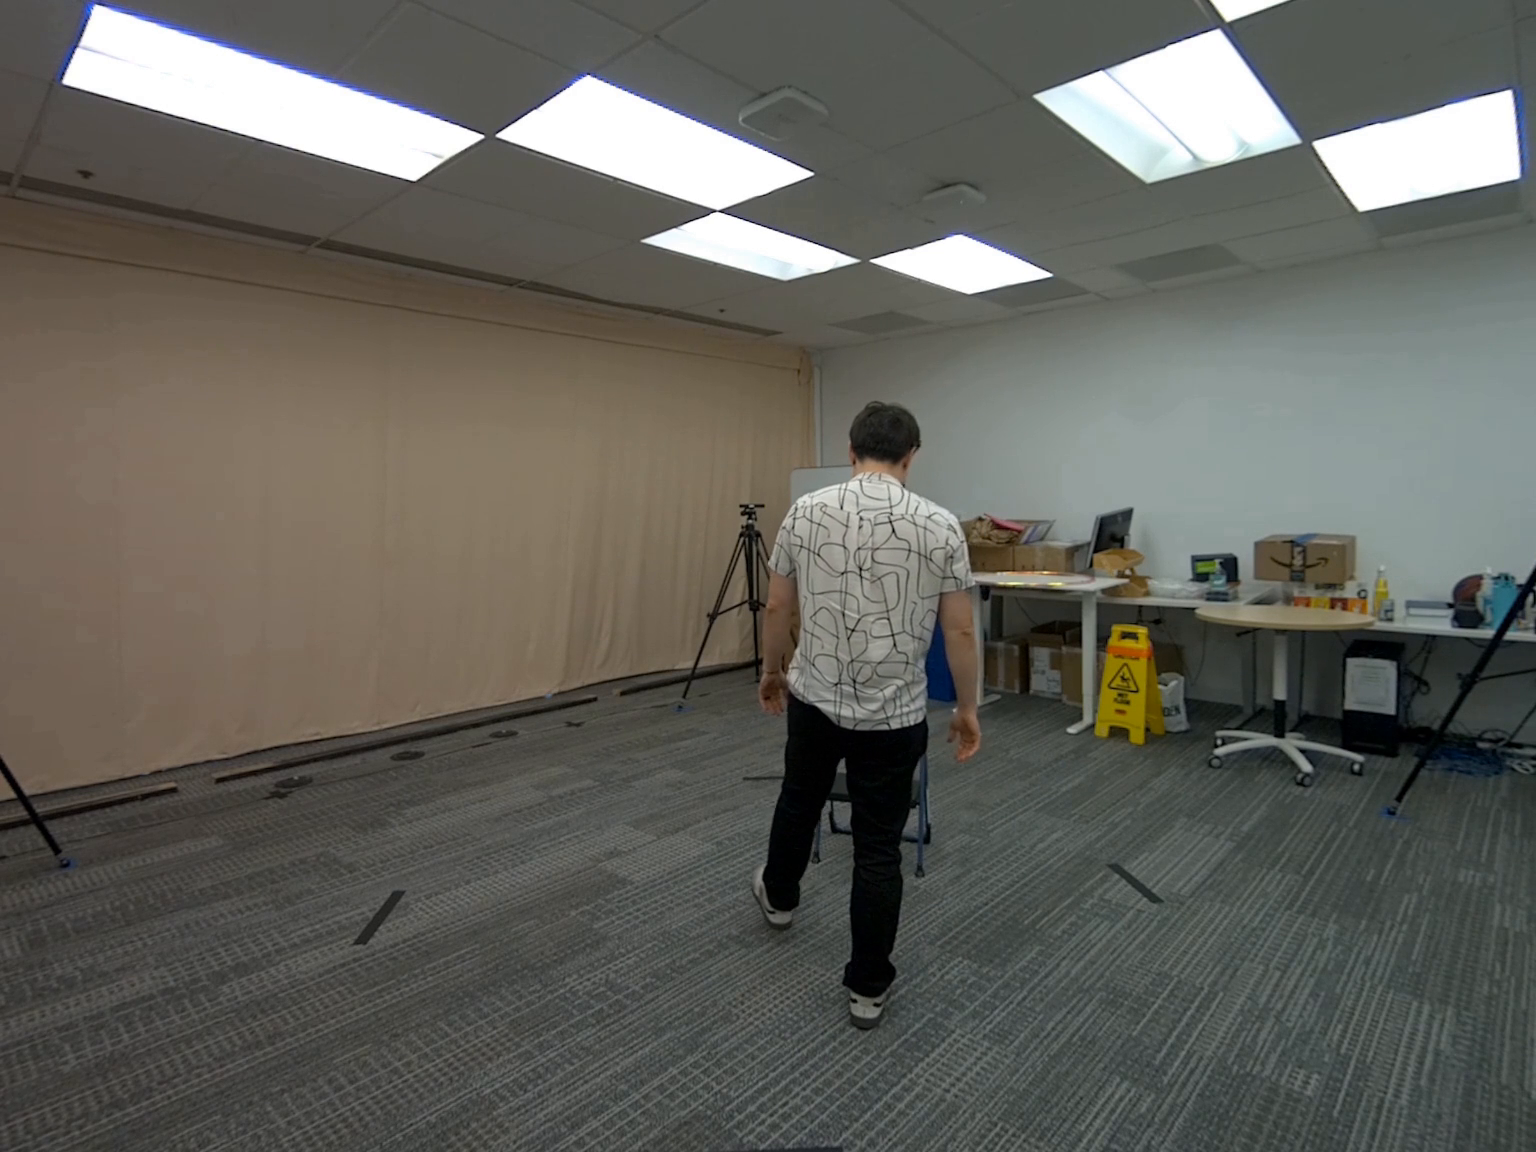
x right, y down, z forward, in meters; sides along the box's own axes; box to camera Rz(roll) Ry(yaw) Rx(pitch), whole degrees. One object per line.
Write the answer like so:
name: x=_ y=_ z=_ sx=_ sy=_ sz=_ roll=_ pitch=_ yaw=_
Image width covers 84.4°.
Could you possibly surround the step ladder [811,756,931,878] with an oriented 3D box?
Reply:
step ladder: x=0.425 y=0.798 z=3.342 sx=0.439 sy=0.605 sz=0.343 roll=1 pitch=4 yaw=18
